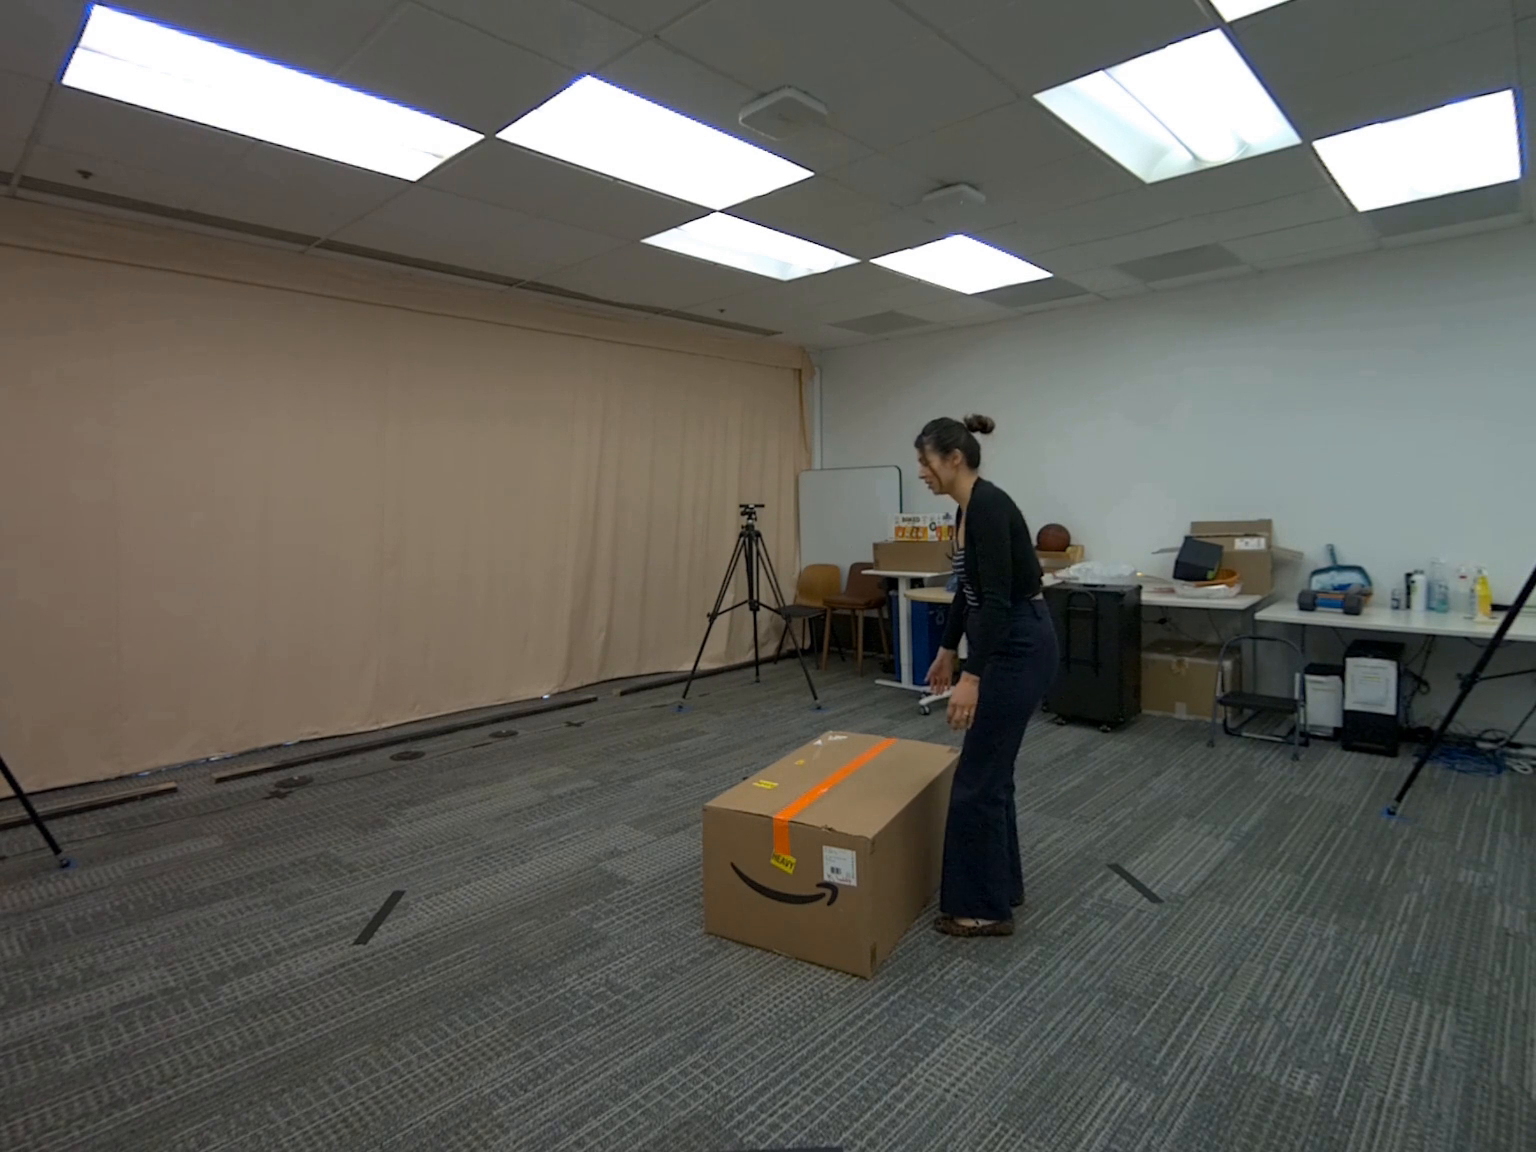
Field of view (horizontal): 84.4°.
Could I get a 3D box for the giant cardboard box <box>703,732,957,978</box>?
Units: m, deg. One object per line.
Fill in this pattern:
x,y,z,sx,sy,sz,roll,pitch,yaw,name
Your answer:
0.281,0.918,3.020,0.594,0.425,1.000,2,5,28,giant cardboard box
